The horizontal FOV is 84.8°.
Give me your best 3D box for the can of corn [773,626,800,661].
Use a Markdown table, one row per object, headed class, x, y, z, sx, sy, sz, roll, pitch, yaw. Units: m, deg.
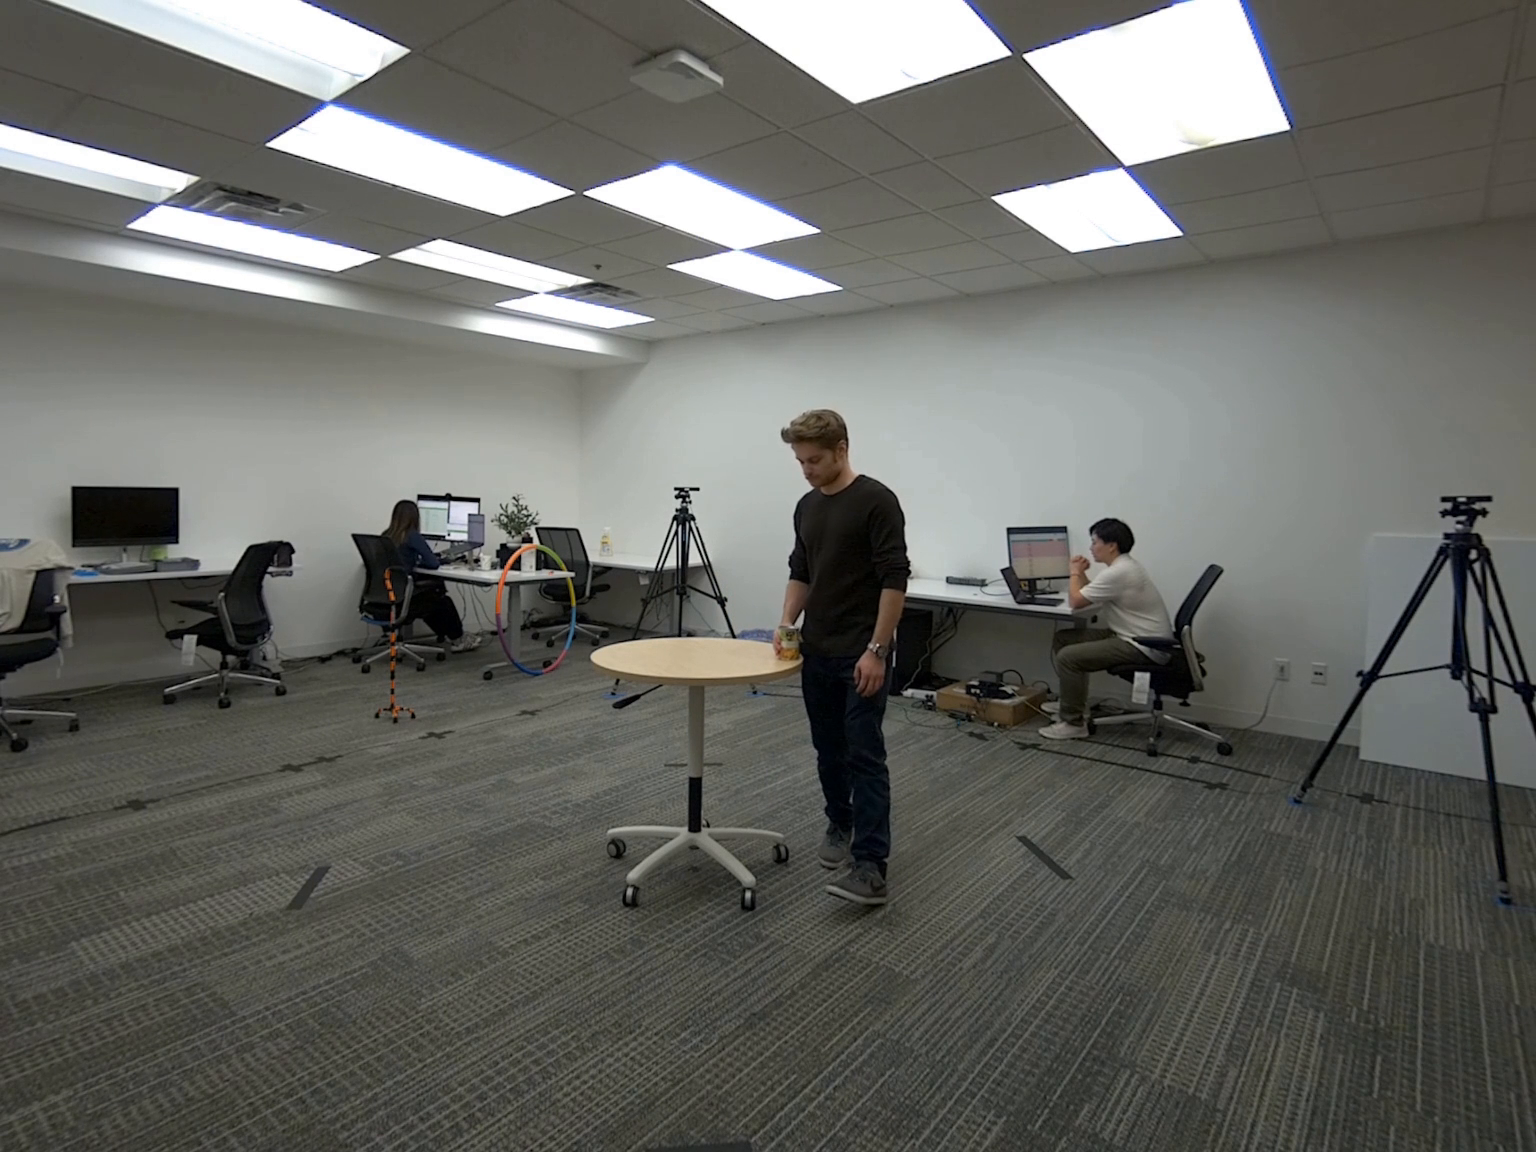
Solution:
| class | x | y | z | sx | sy | sz | roll | pitch | yaw |
| --- | --- | --- | --- | --- | --- | --- | --- | --- | --- |
| can of corn | 0.064 | 0.234 | 3.032 | 0.074 | 0.111 | 0.074 | -3 | 0 | -2 |
